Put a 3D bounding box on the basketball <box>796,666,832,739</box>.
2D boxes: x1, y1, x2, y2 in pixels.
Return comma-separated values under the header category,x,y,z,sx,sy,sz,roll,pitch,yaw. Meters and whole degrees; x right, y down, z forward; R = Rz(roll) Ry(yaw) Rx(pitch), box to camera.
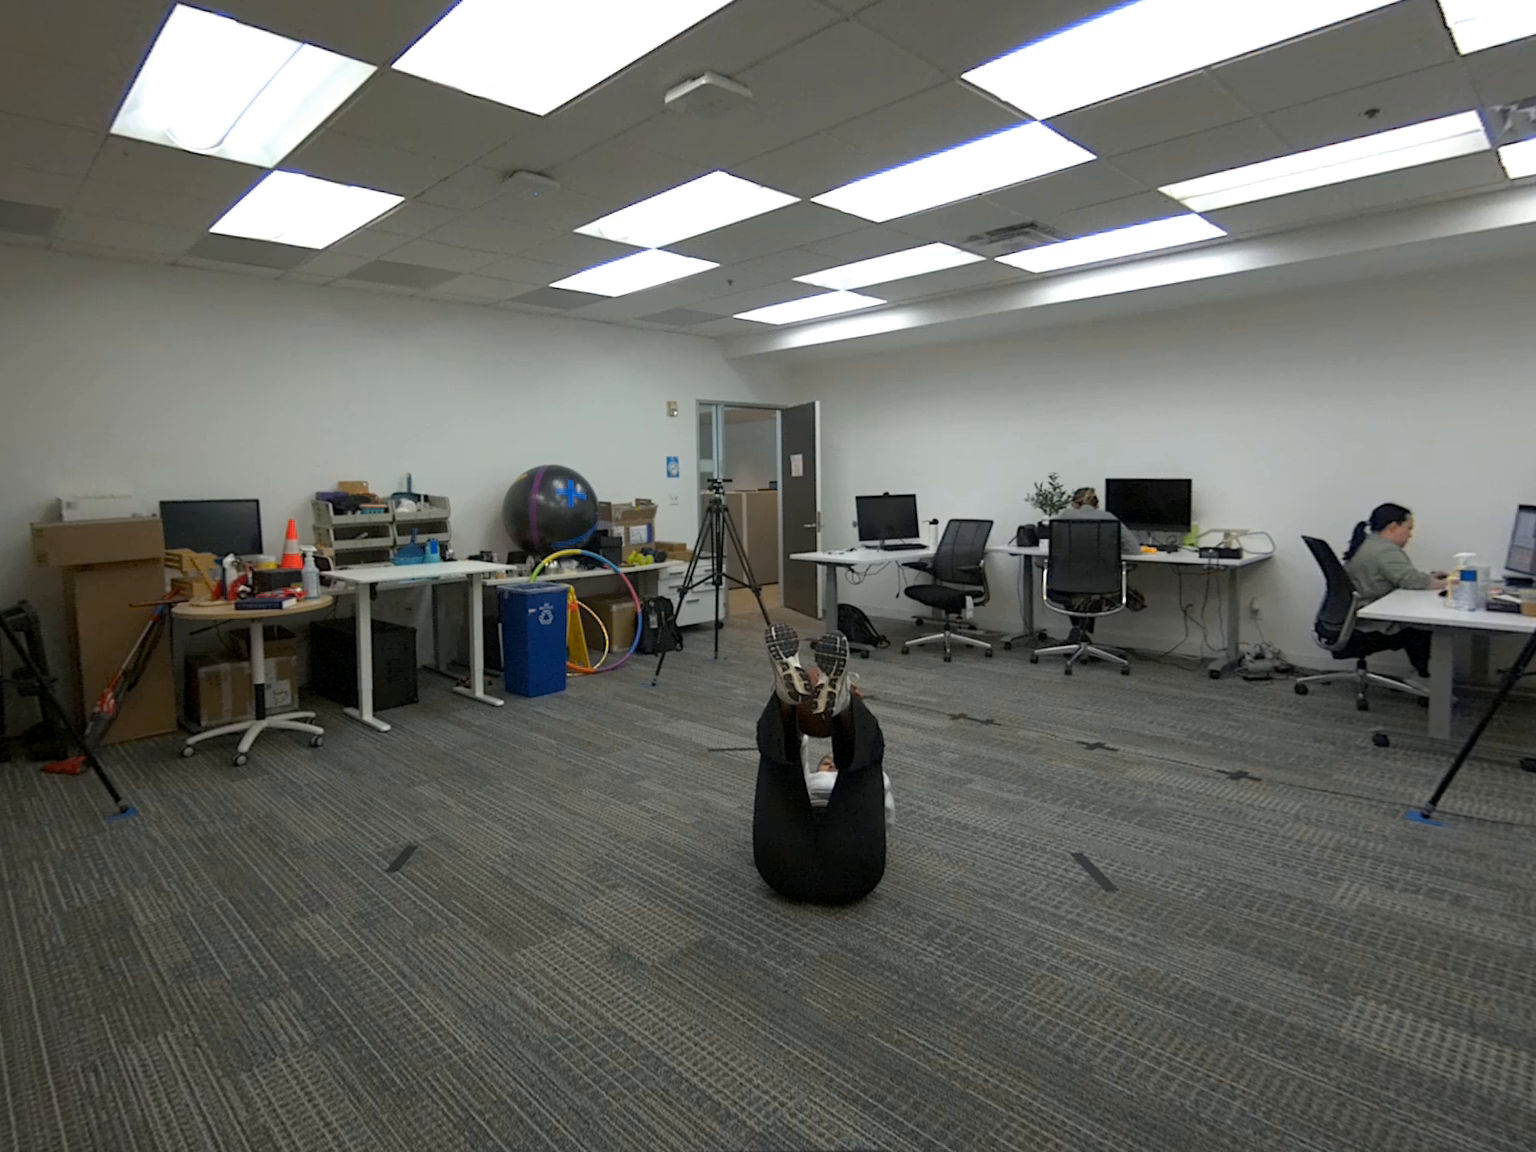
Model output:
category,x,y,z,sx,sy,sz,roll,pitch,yaw
basketball,0.180,0.424,2.900,0.236,0.235,0.237,-1,4,-2
